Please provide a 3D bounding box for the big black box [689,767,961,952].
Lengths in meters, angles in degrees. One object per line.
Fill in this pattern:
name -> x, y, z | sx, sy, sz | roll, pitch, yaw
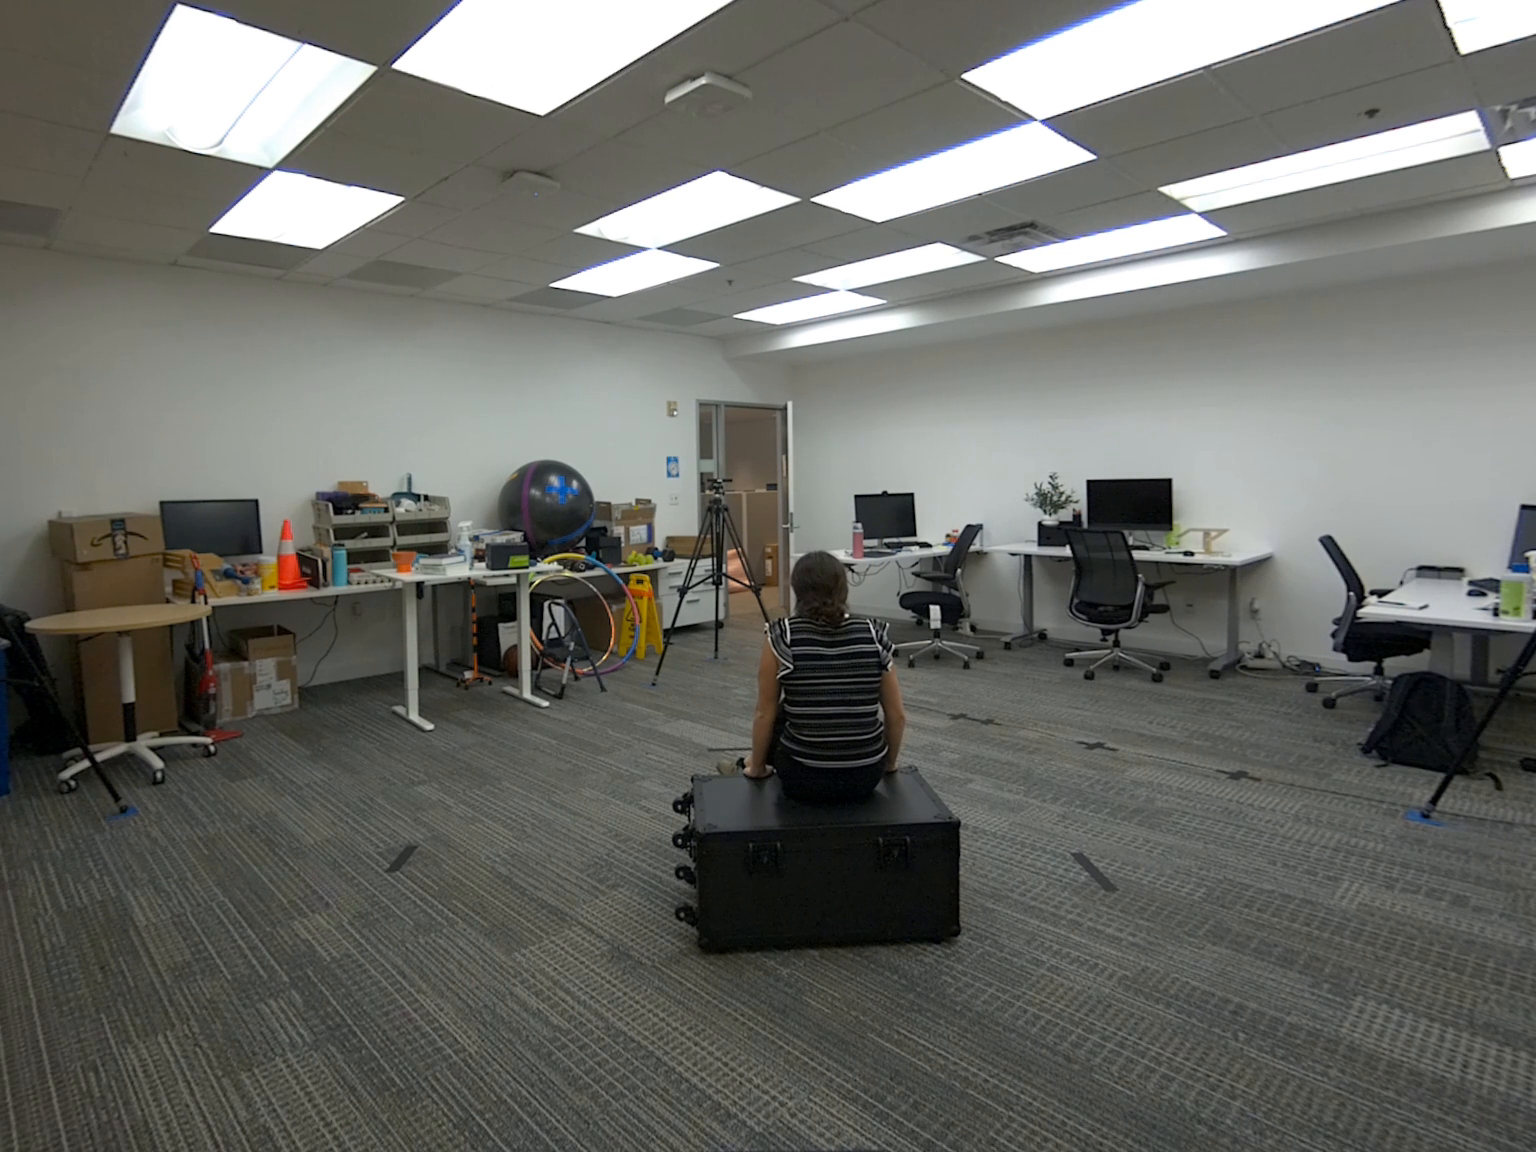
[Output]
big black box -> 0.123, 0.889, 2.753 | 0.858, 0.395, 0.526 | -1, 5, -5
